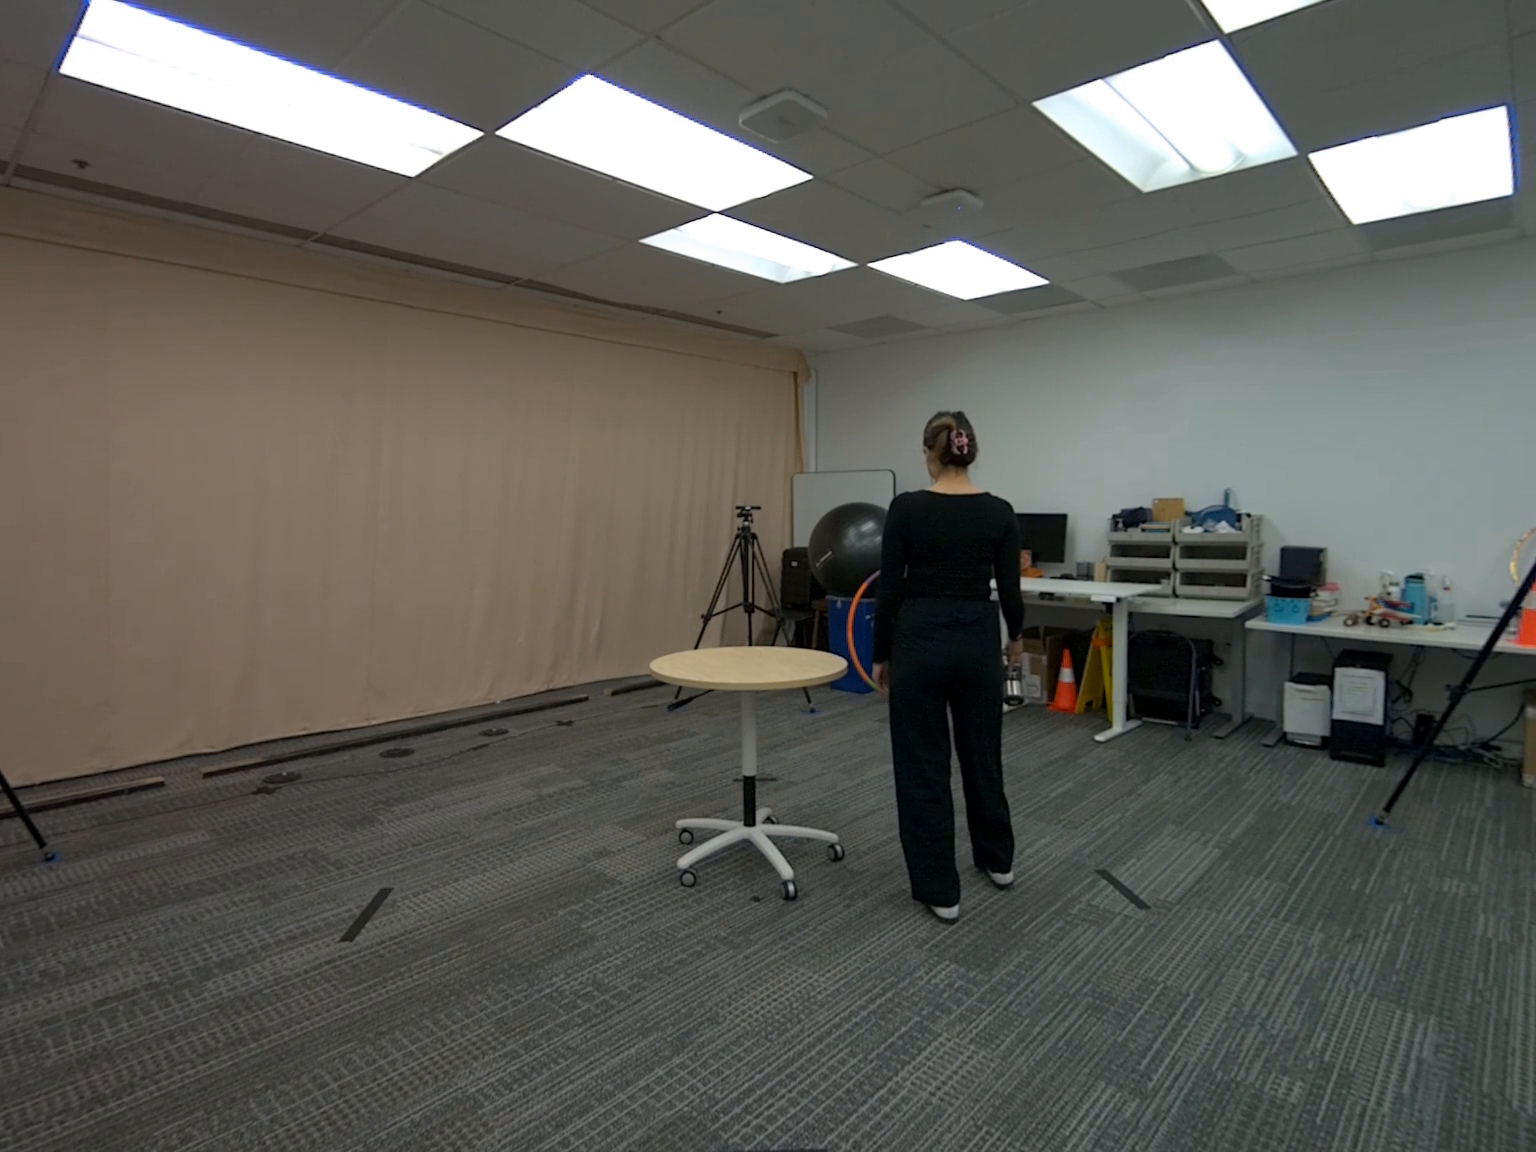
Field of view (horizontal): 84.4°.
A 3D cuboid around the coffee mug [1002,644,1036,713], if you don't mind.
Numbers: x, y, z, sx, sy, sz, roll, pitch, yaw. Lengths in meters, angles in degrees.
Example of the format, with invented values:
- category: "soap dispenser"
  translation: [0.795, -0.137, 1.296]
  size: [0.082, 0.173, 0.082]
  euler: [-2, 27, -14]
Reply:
- category: "coffee mug"
  translation: [0.905, 0.372, 3.092]
  size: [0.090, 0.205, 0.118]
  euler: [-16, -42, 35]
